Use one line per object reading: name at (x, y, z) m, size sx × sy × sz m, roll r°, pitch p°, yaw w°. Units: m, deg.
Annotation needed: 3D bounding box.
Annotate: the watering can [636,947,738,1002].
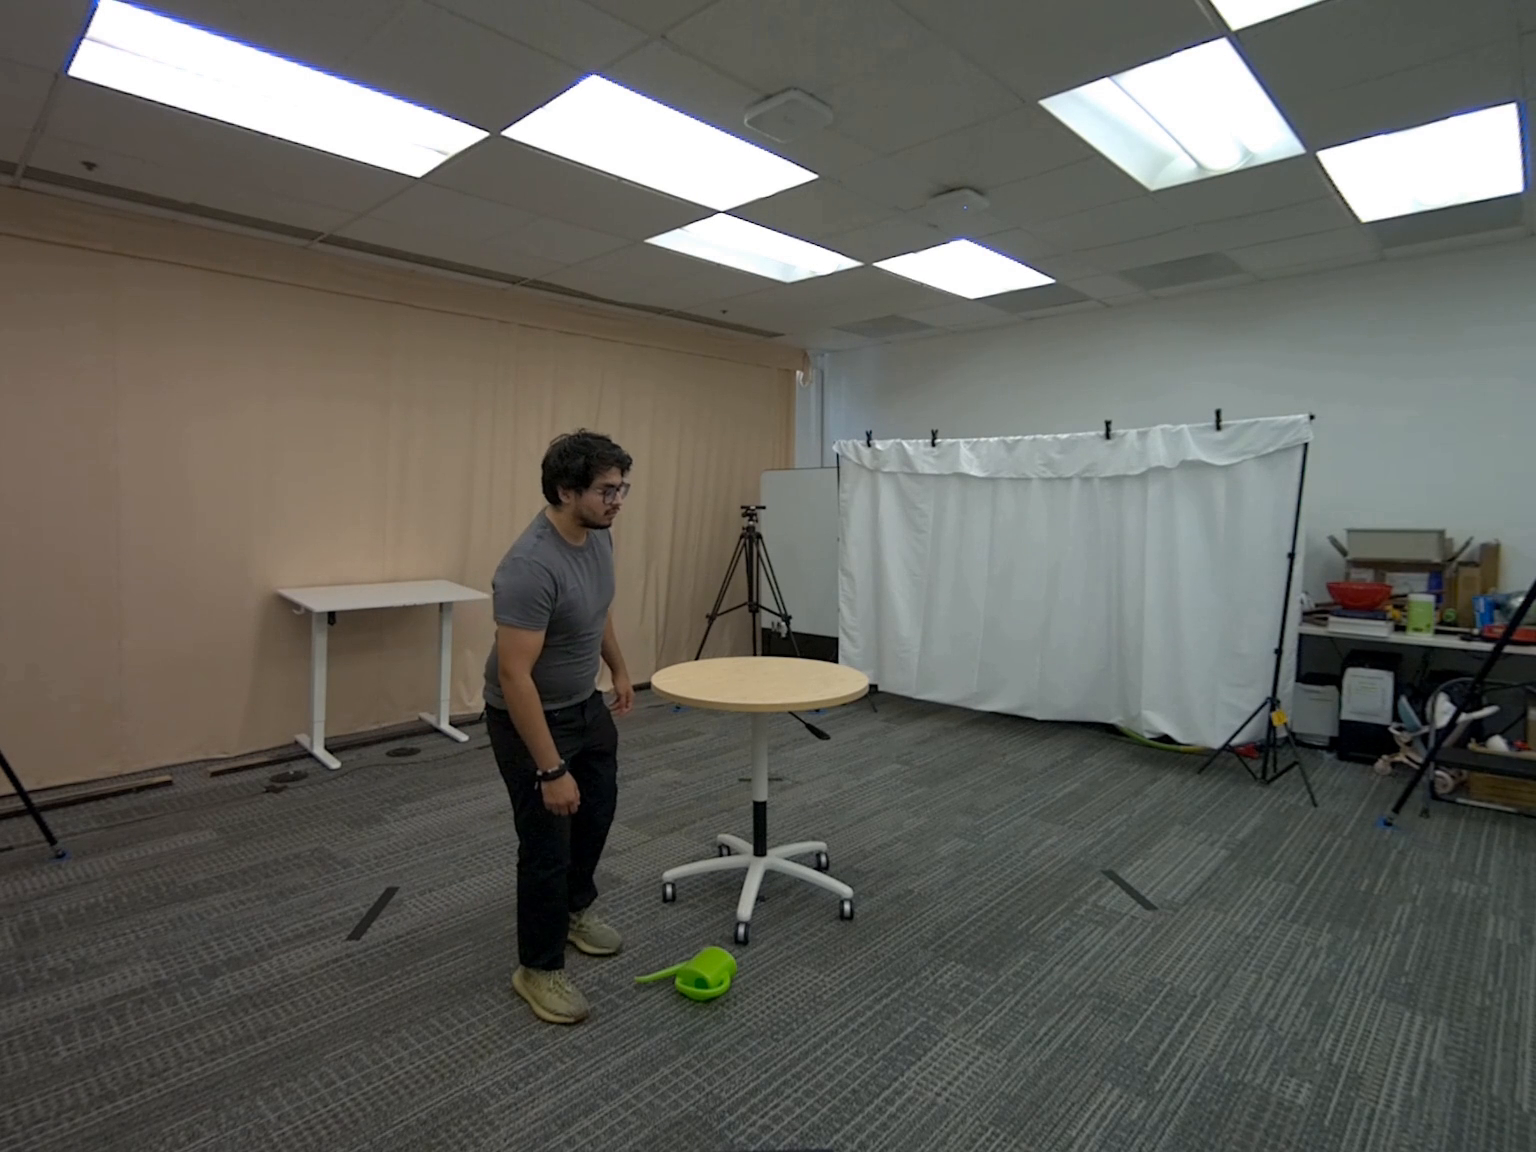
watering can at (-0.221, 1.144, 2.422) m, size 0.287 × 0.097 × 0.172 m, roll 10°, pitch 8°, yaw 30°
